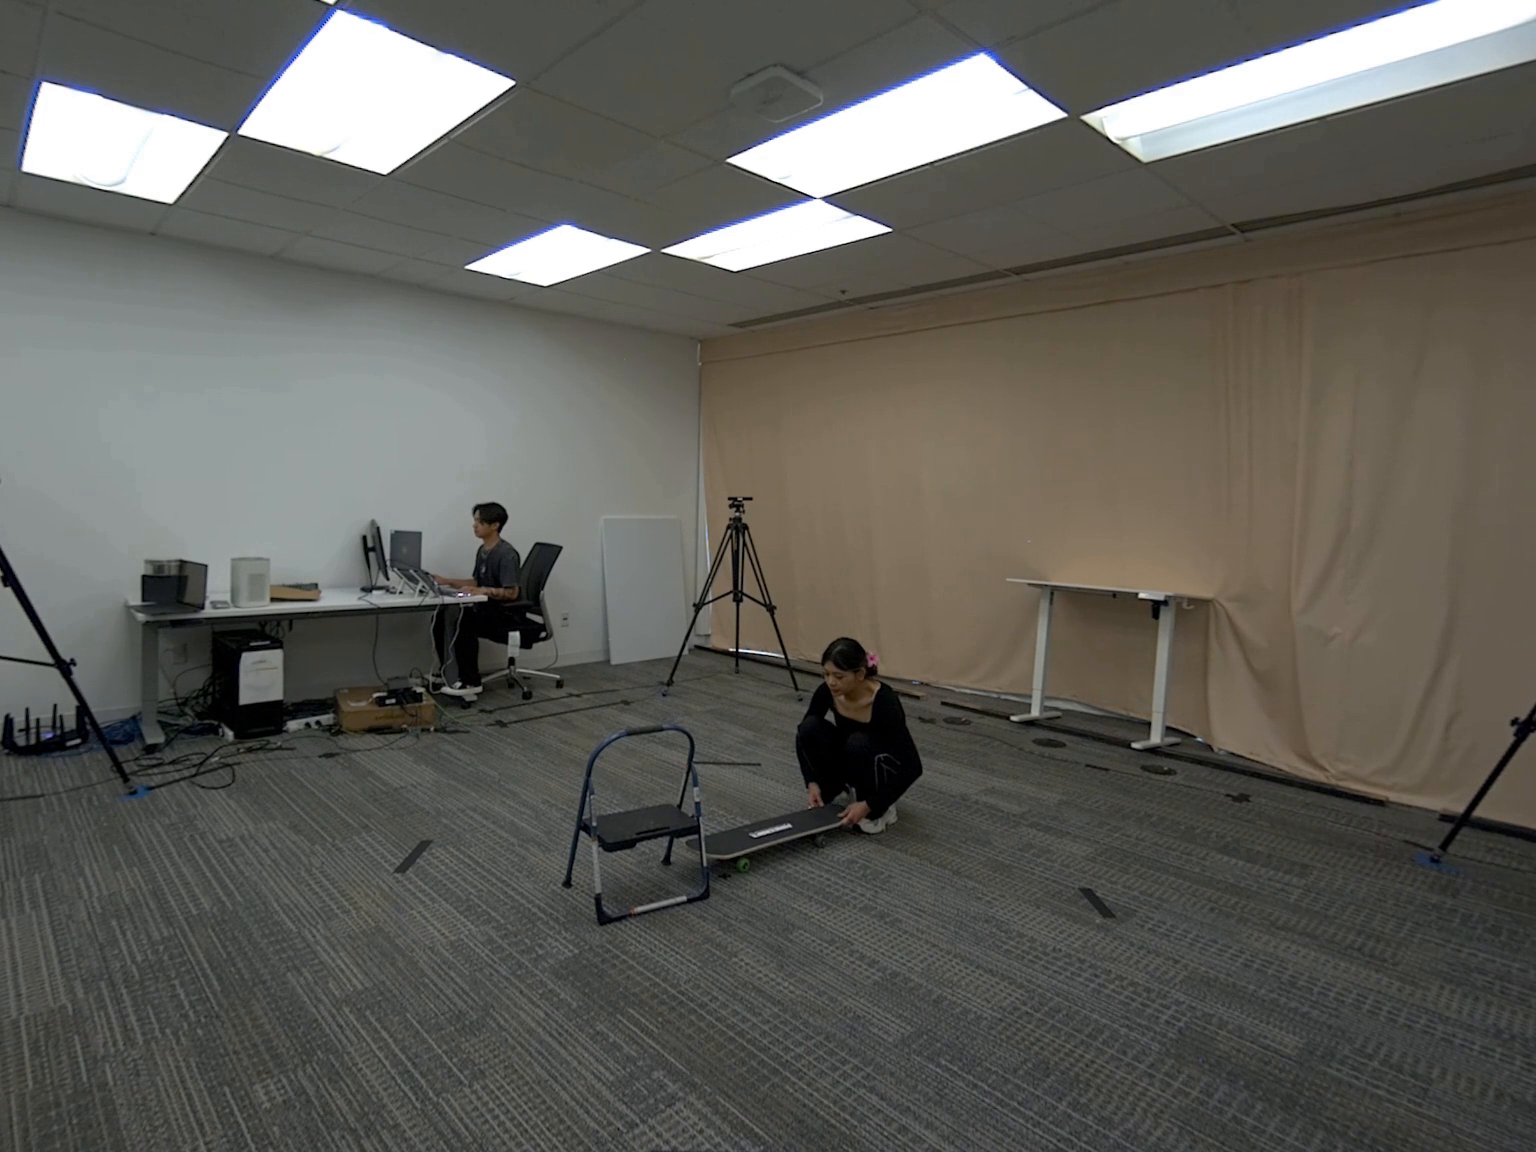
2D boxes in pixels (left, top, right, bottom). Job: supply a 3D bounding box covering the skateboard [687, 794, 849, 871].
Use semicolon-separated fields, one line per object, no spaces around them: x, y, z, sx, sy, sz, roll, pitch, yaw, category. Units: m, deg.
0.004;1.039;3.323;0.768;0.110;0.198;-2;6;-38;skateboard
